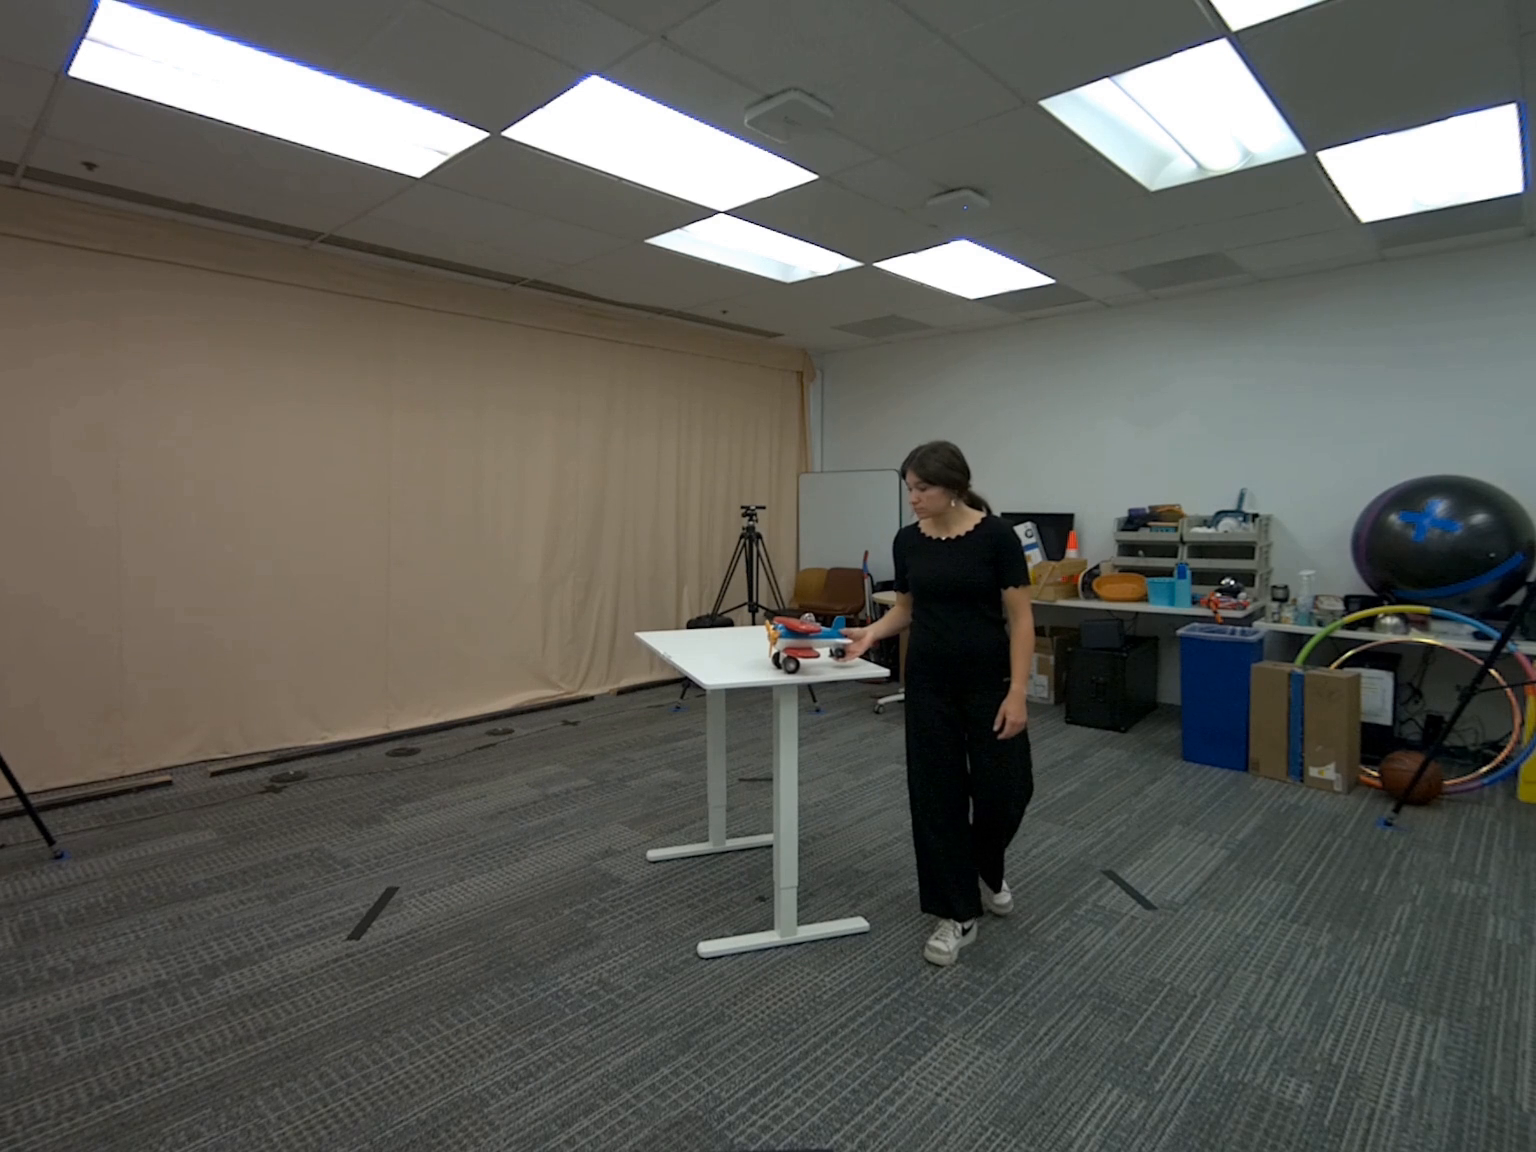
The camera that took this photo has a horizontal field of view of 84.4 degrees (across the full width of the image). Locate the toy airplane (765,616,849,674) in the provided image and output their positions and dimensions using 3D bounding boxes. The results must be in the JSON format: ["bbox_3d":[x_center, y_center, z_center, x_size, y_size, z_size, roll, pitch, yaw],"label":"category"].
[{"bbox_3d":[0.130,0.204,2.647,0.259,0.155,0.253,0,12,44],"label":"toy airplane"}]
